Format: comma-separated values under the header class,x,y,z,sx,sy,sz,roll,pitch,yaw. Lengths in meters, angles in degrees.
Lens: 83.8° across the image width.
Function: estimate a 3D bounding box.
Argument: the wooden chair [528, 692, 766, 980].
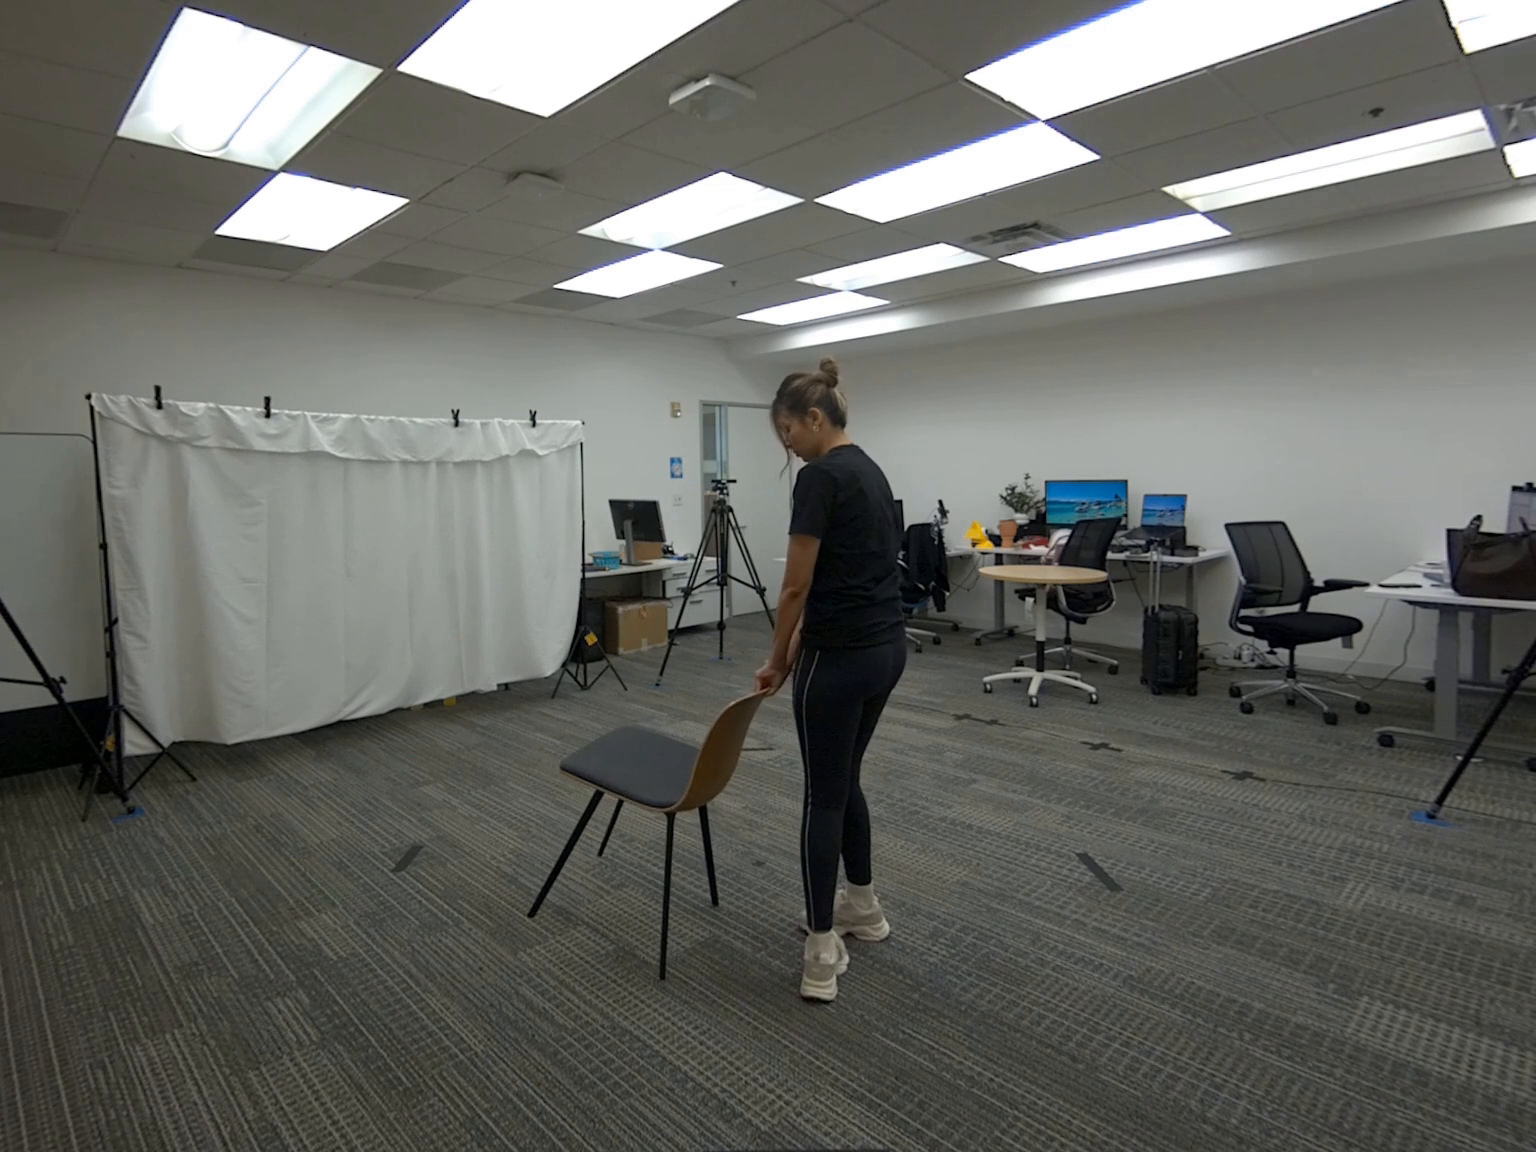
class,x,y,z,sx,sy,sz,roll,pitch,yaw
wooden chair,-0.346,0.640,2.609,0.534,0.872,0.471,20,11,17
